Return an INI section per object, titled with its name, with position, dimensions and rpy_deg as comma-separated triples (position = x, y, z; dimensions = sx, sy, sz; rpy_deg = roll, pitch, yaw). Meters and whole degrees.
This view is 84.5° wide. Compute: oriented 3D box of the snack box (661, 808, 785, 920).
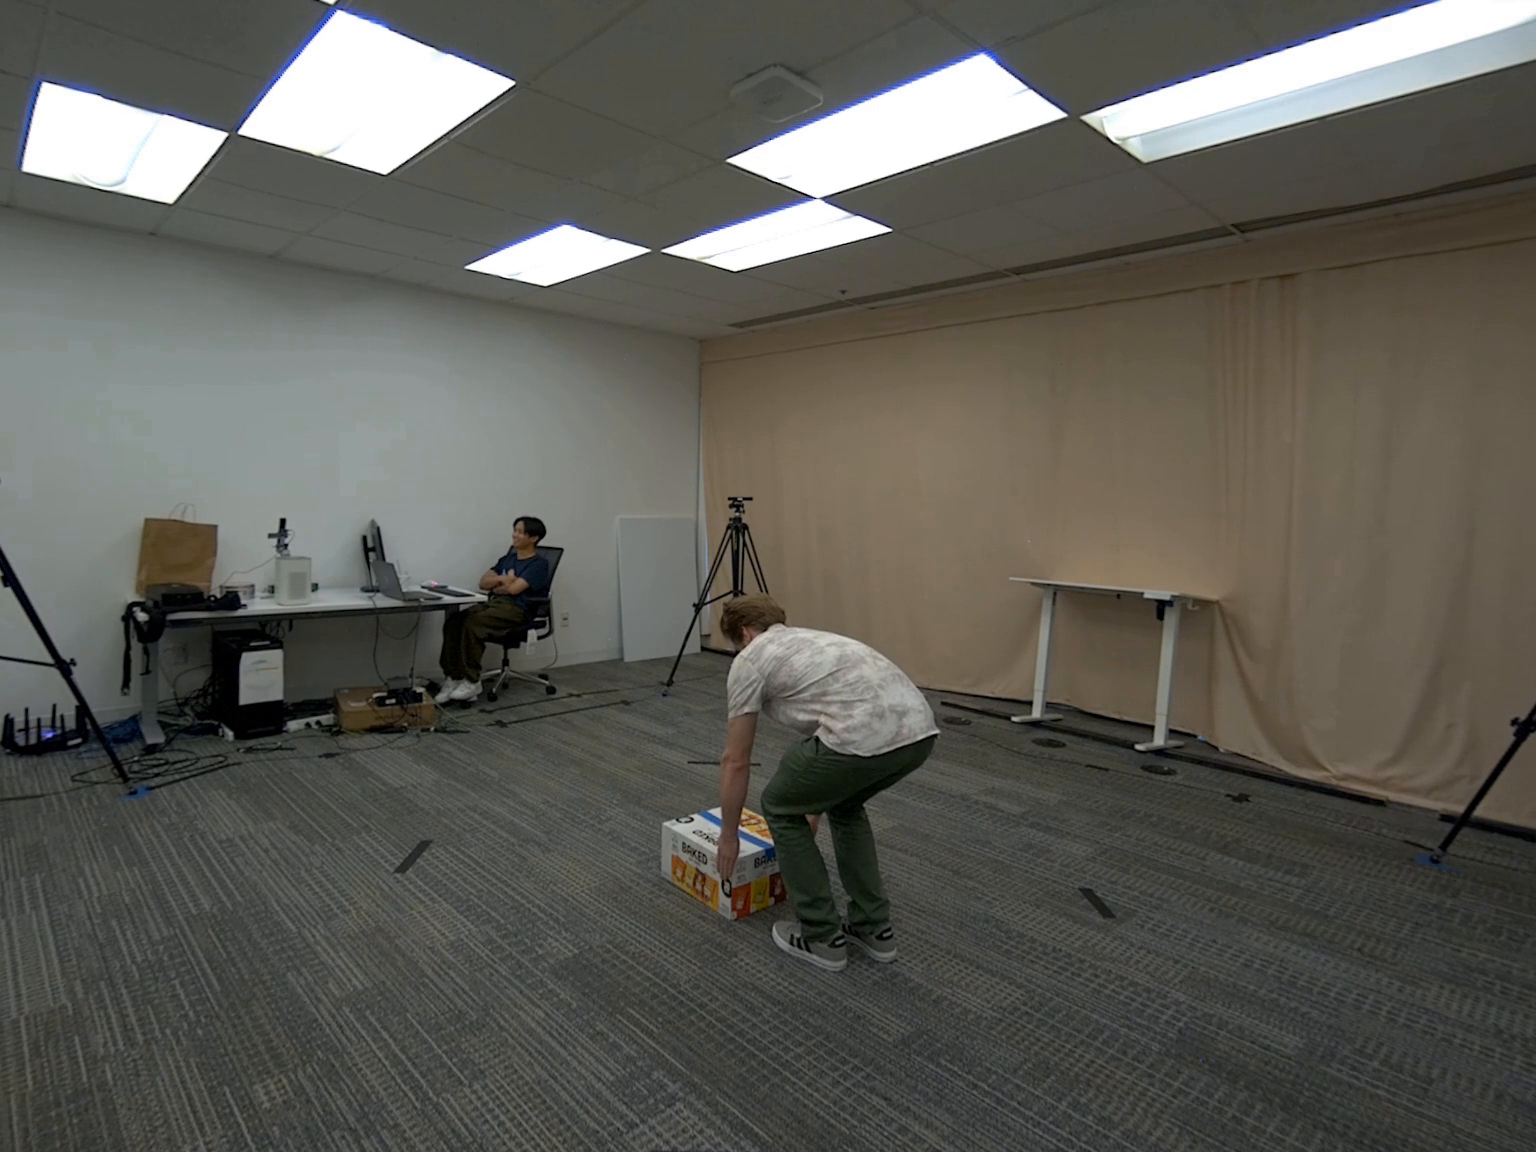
[snack box]
position = -0.135, 1.015, 3.025
dimensions = 0.332, 0.205, 0.415
rpy_deg = -2, 6, -40
